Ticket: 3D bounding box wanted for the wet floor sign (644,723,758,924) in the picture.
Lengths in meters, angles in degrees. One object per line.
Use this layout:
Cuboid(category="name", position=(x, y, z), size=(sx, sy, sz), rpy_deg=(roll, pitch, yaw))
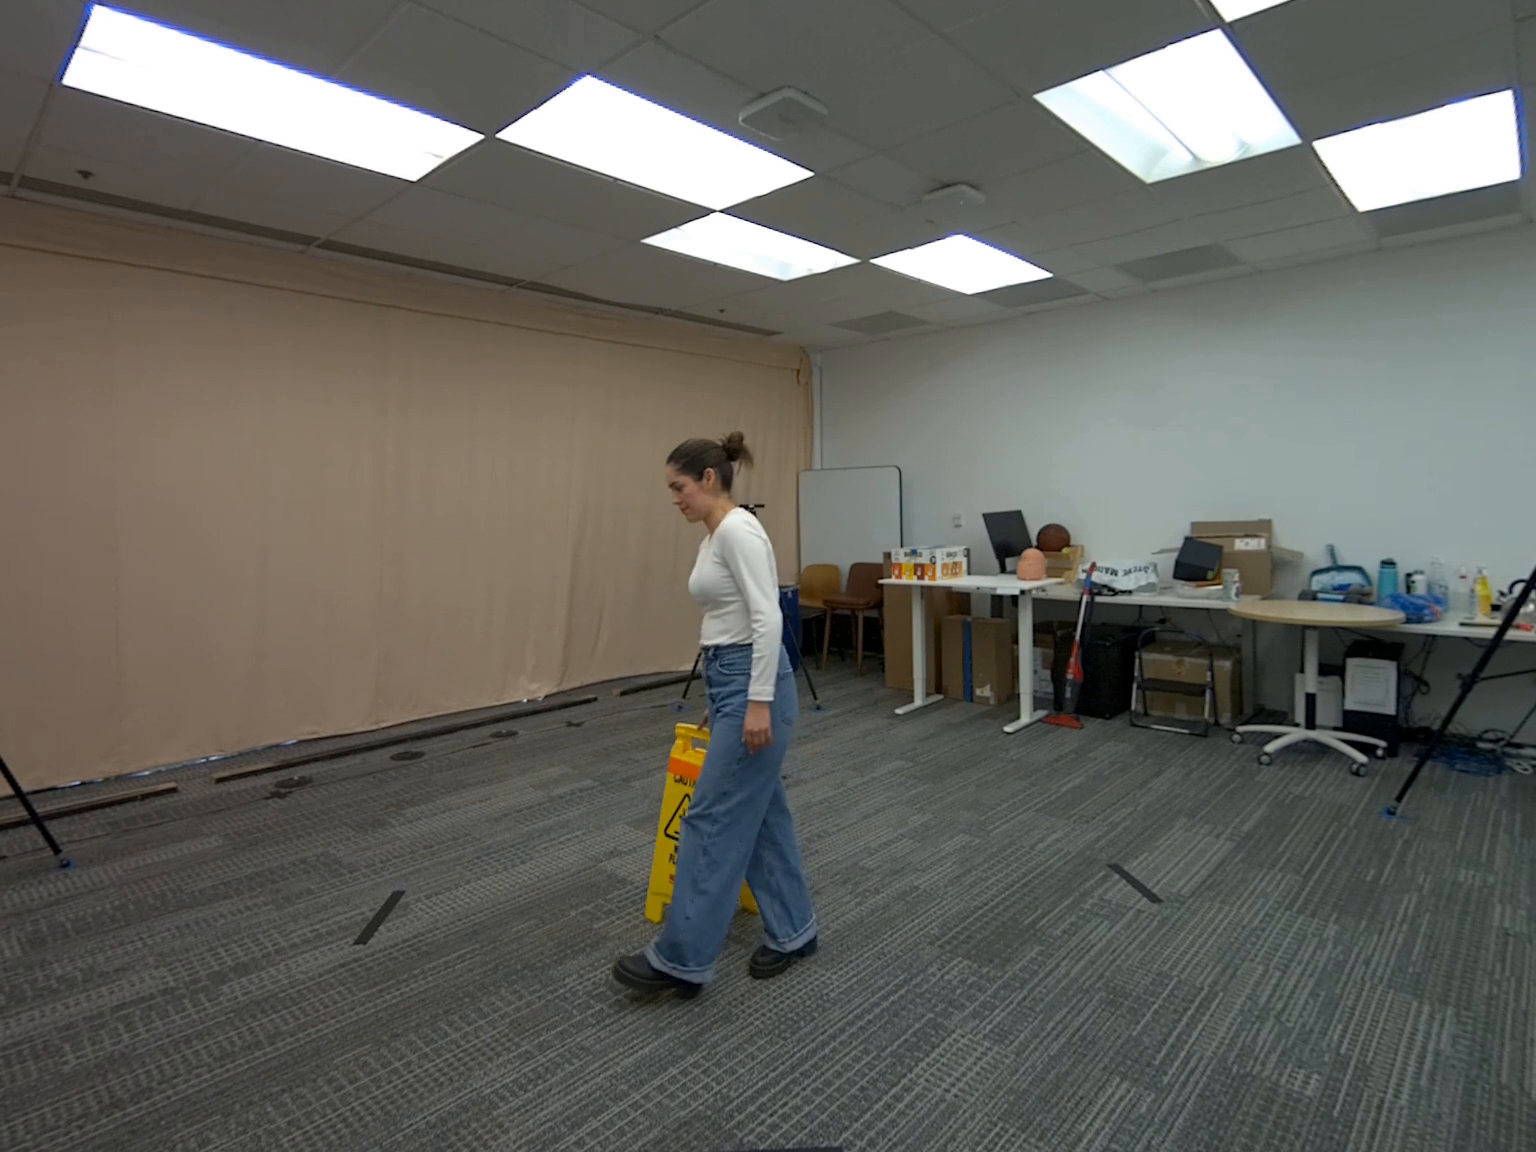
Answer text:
Cuboid(category="wet floor sign", position=(-0.231, 0.832, 2.847), size=(0.291, 0.645, 0.281), rpy_deg=(1, 4, 43))
